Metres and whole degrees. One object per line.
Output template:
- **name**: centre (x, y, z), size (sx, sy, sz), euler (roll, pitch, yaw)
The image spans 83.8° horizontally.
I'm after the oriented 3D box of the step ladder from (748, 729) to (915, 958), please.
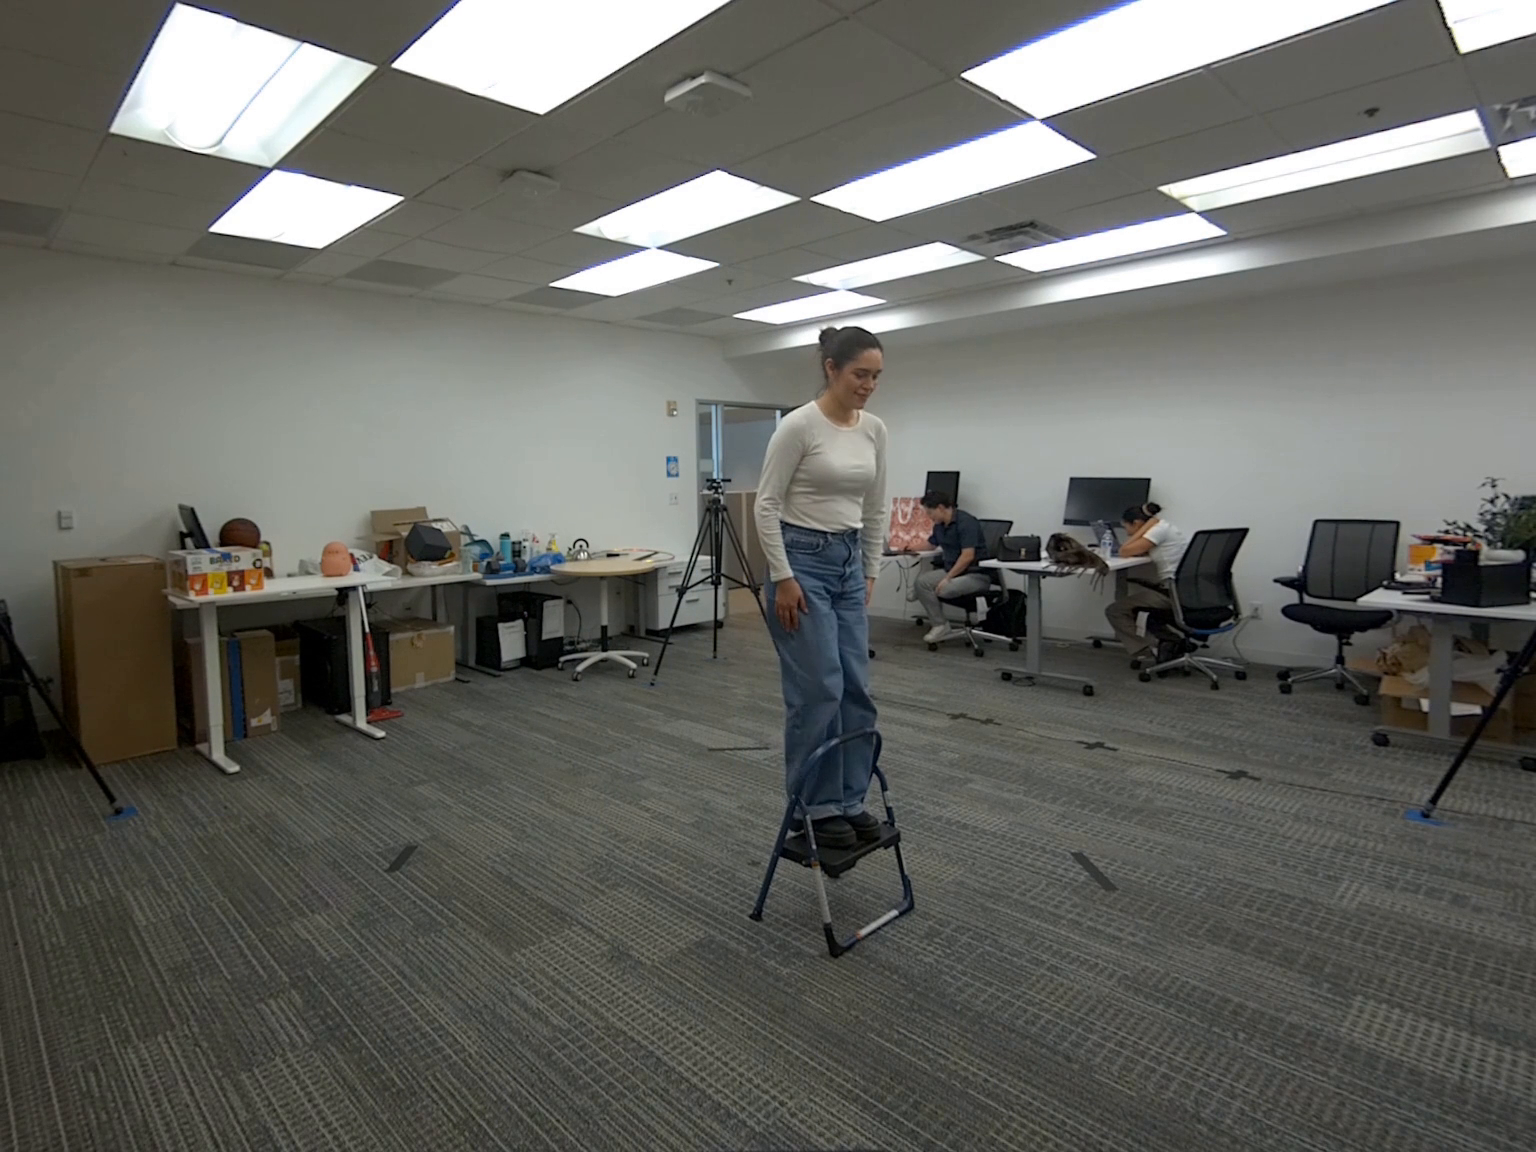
- **step ladder**: centre (0.207, 0.781, 2.726), size (0.360, 0.604, 0.419), euler (3, 6, 44)
